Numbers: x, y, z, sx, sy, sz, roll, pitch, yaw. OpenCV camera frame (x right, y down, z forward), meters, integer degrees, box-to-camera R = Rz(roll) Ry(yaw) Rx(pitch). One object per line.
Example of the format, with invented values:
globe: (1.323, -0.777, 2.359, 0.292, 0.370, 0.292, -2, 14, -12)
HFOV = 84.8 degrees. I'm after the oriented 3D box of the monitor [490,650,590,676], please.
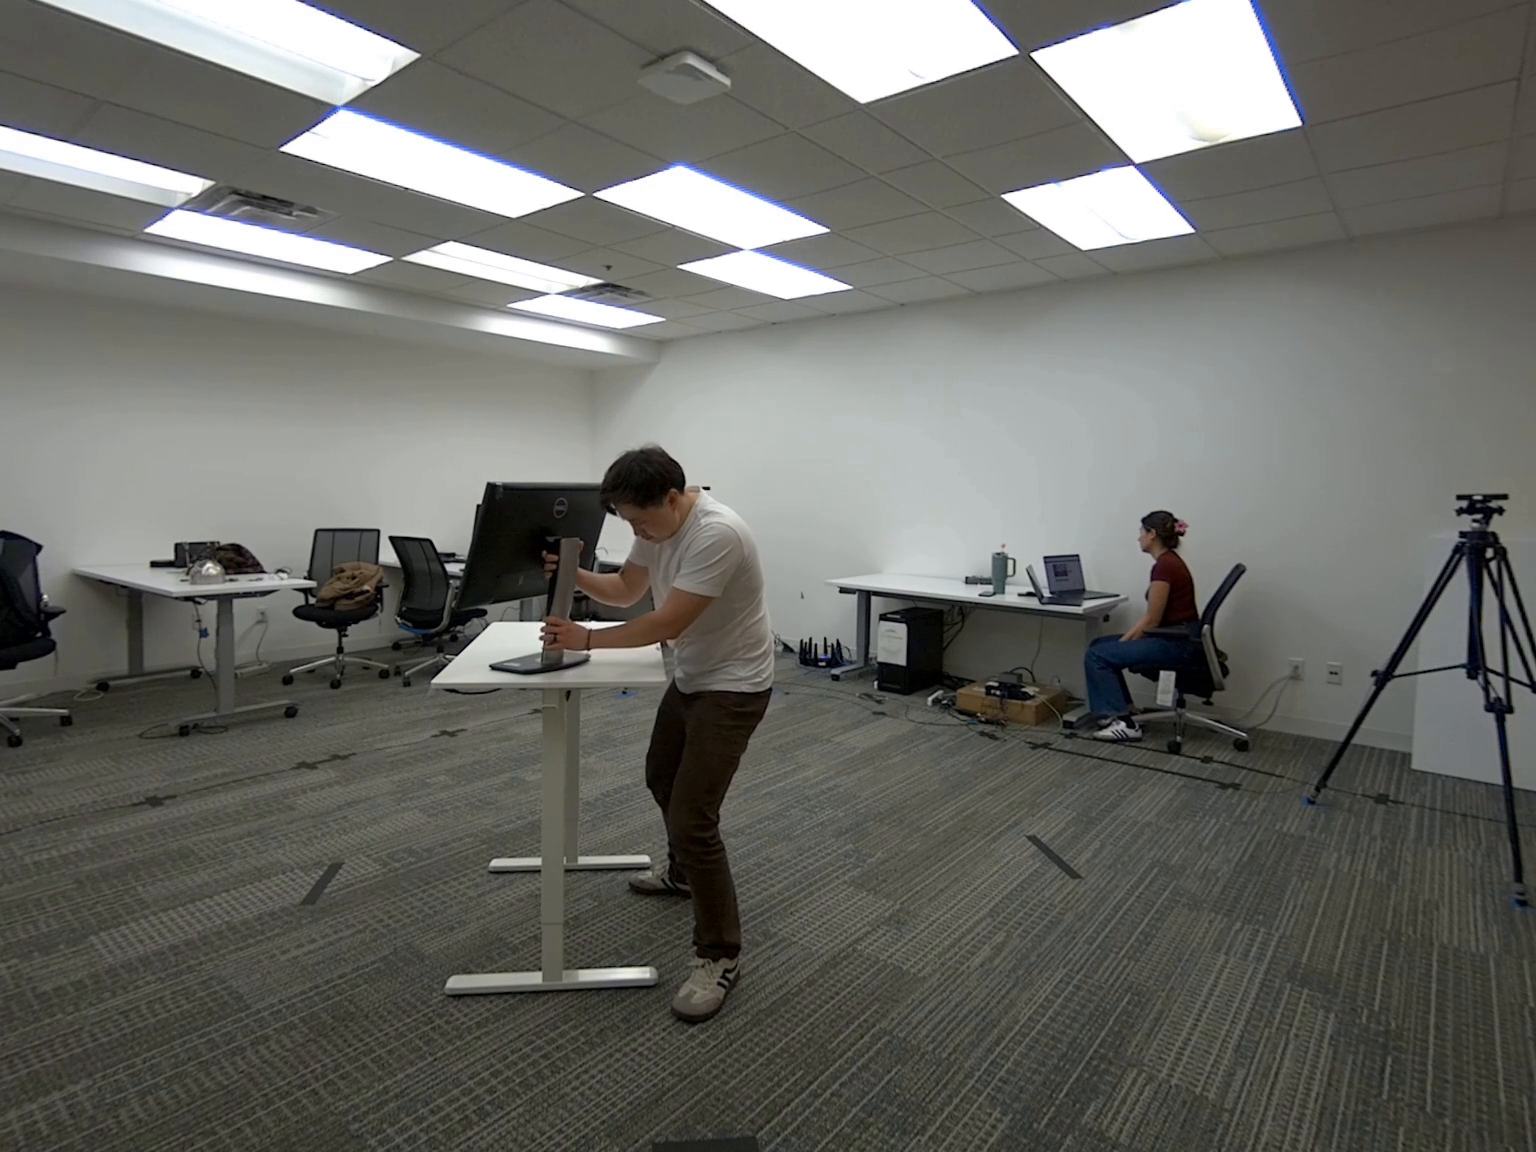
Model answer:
monitor: (-0.627, -0.002, 2.387, 0.192, 0.520, 0.528, 8, 7, 22)
